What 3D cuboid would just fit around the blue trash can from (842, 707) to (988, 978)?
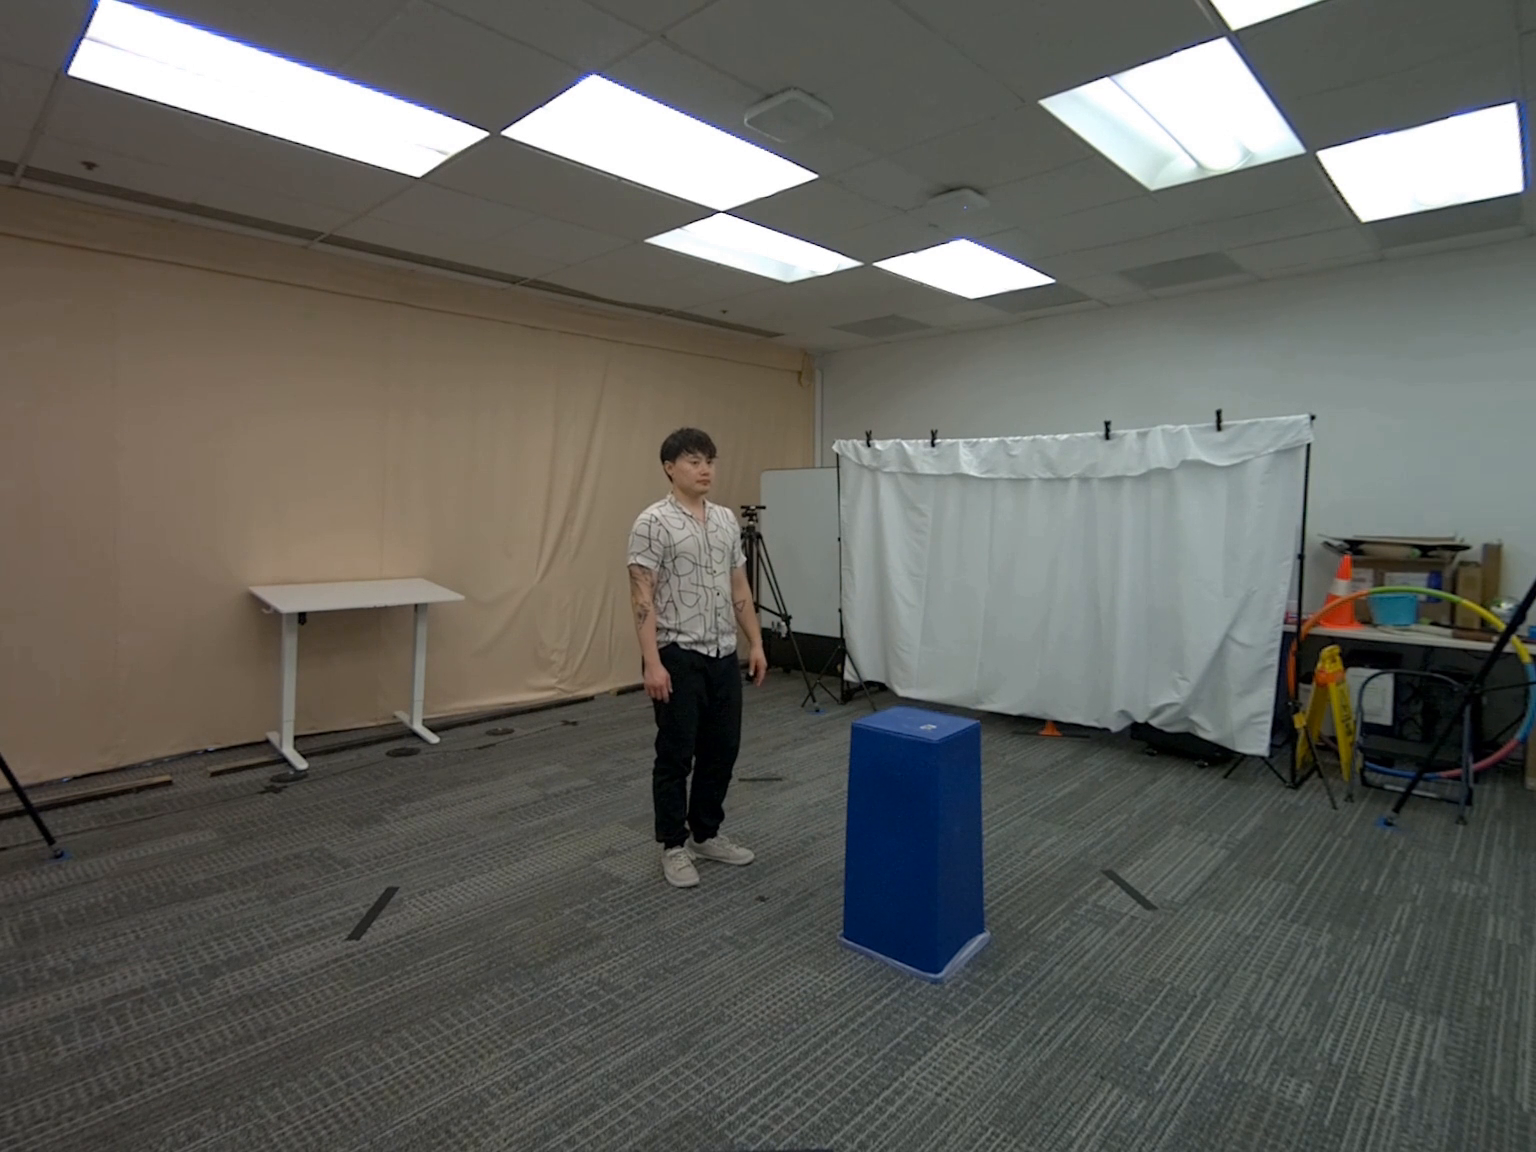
[{"bbox_3d":[0.476,0.815,2.666,0.386,0.711,0.367,4,6,41],"label":"blue trash can"}]
